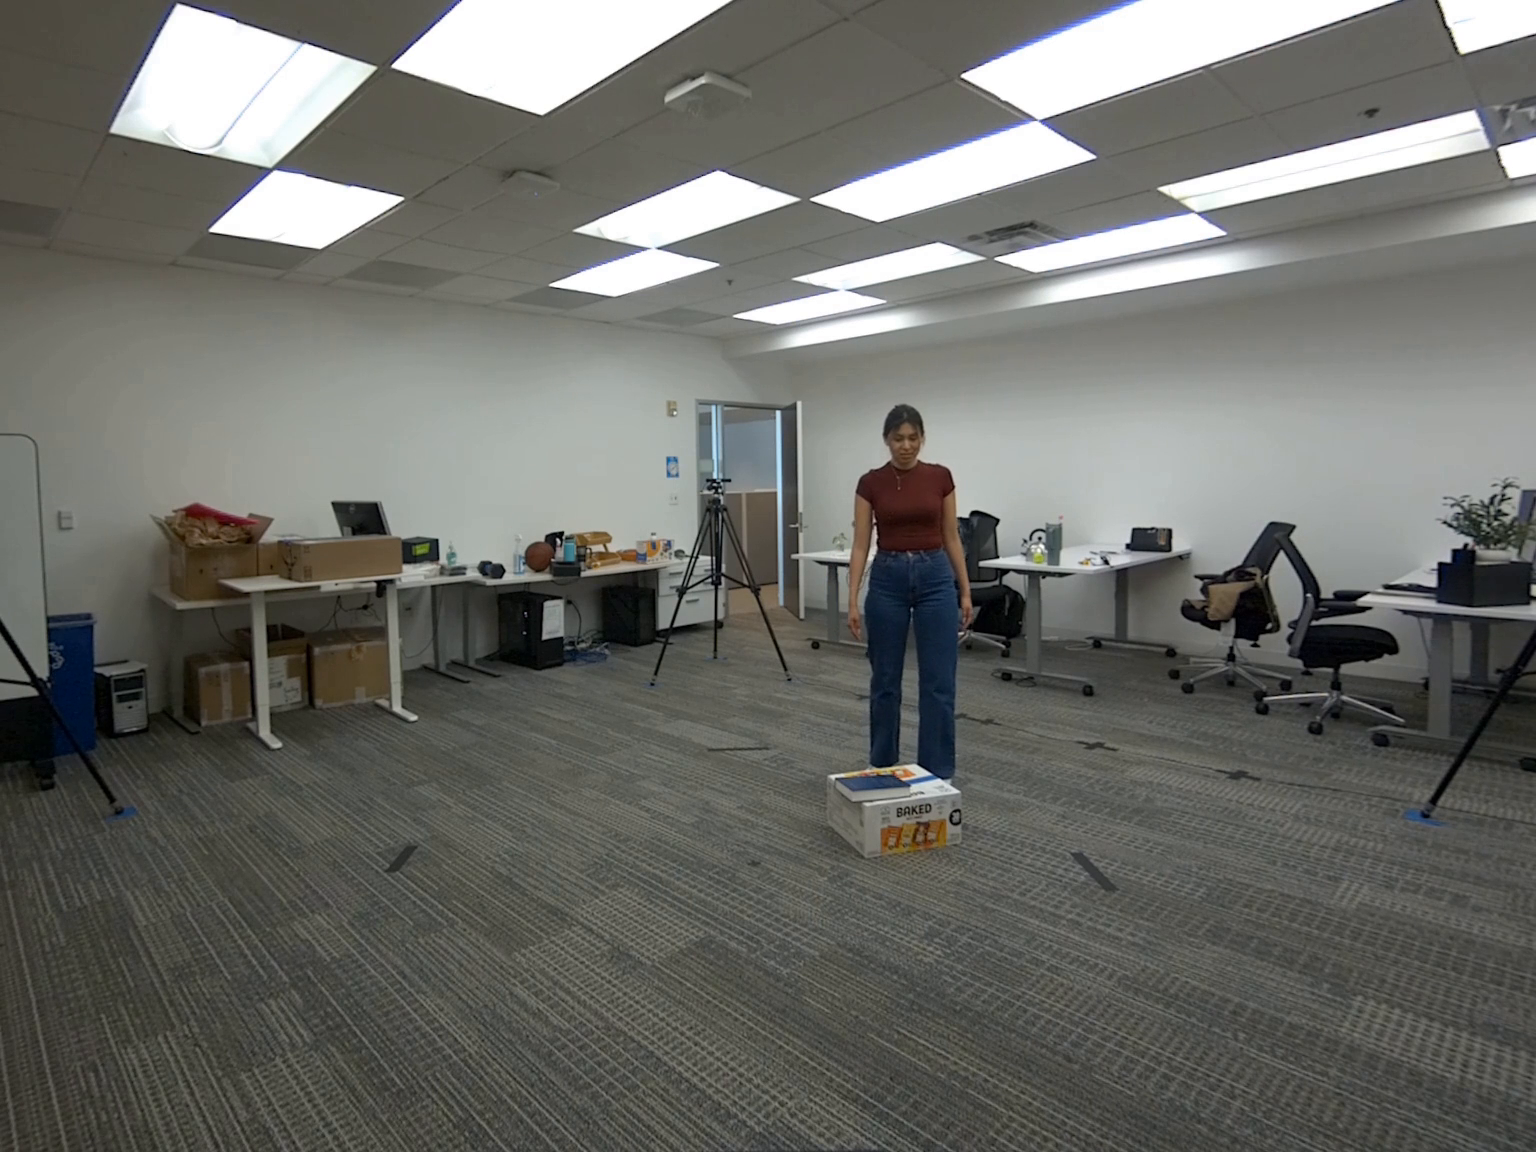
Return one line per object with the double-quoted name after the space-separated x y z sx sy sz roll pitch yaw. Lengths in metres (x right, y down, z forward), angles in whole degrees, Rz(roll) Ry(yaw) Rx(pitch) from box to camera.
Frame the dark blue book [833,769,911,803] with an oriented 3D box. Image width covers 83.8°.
0.404 0.802 3.240 0.241 0.045 0.166 0 4 -18 "dark blue book"
